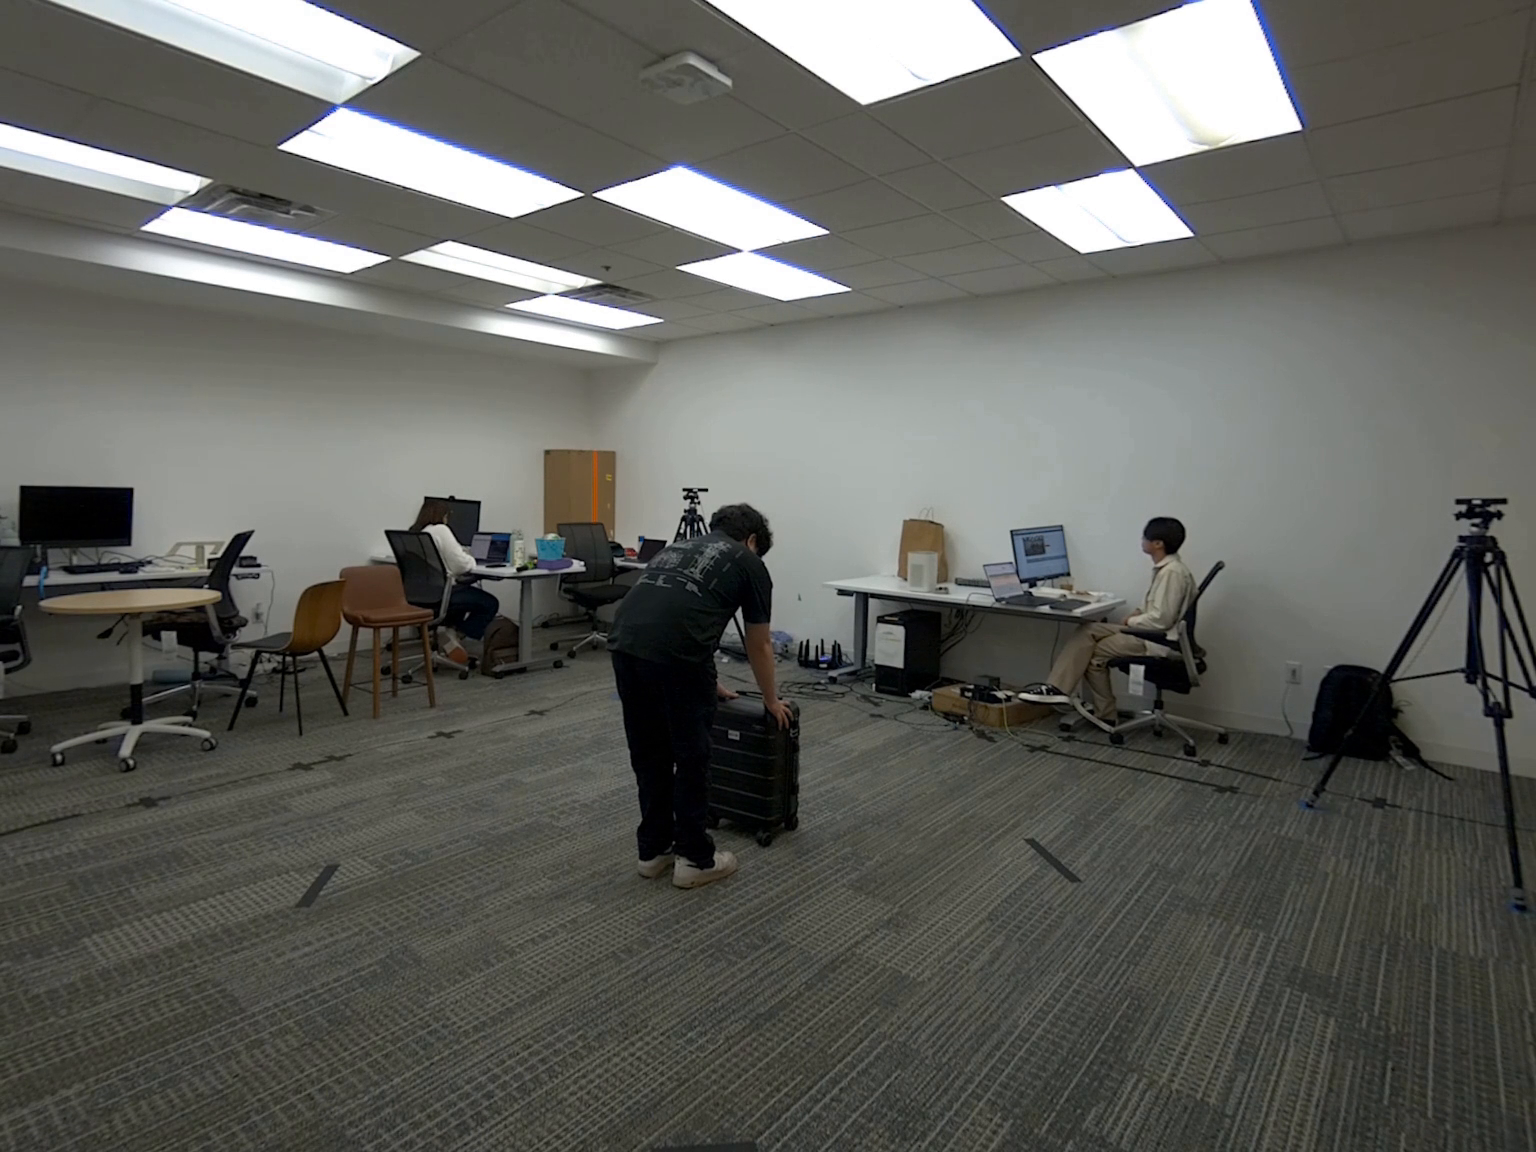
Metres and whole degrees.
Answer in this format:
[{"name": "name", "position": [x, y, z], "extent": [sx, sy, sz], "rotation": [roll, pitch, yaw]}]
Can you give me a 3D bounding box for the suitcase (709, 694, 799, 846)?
[{"name": "suitcase", "position": [-0.069, 0.762, 3.507], "extent": [0.387, 0.548, 0.241], "rotation": [3, 3, 31]}]
